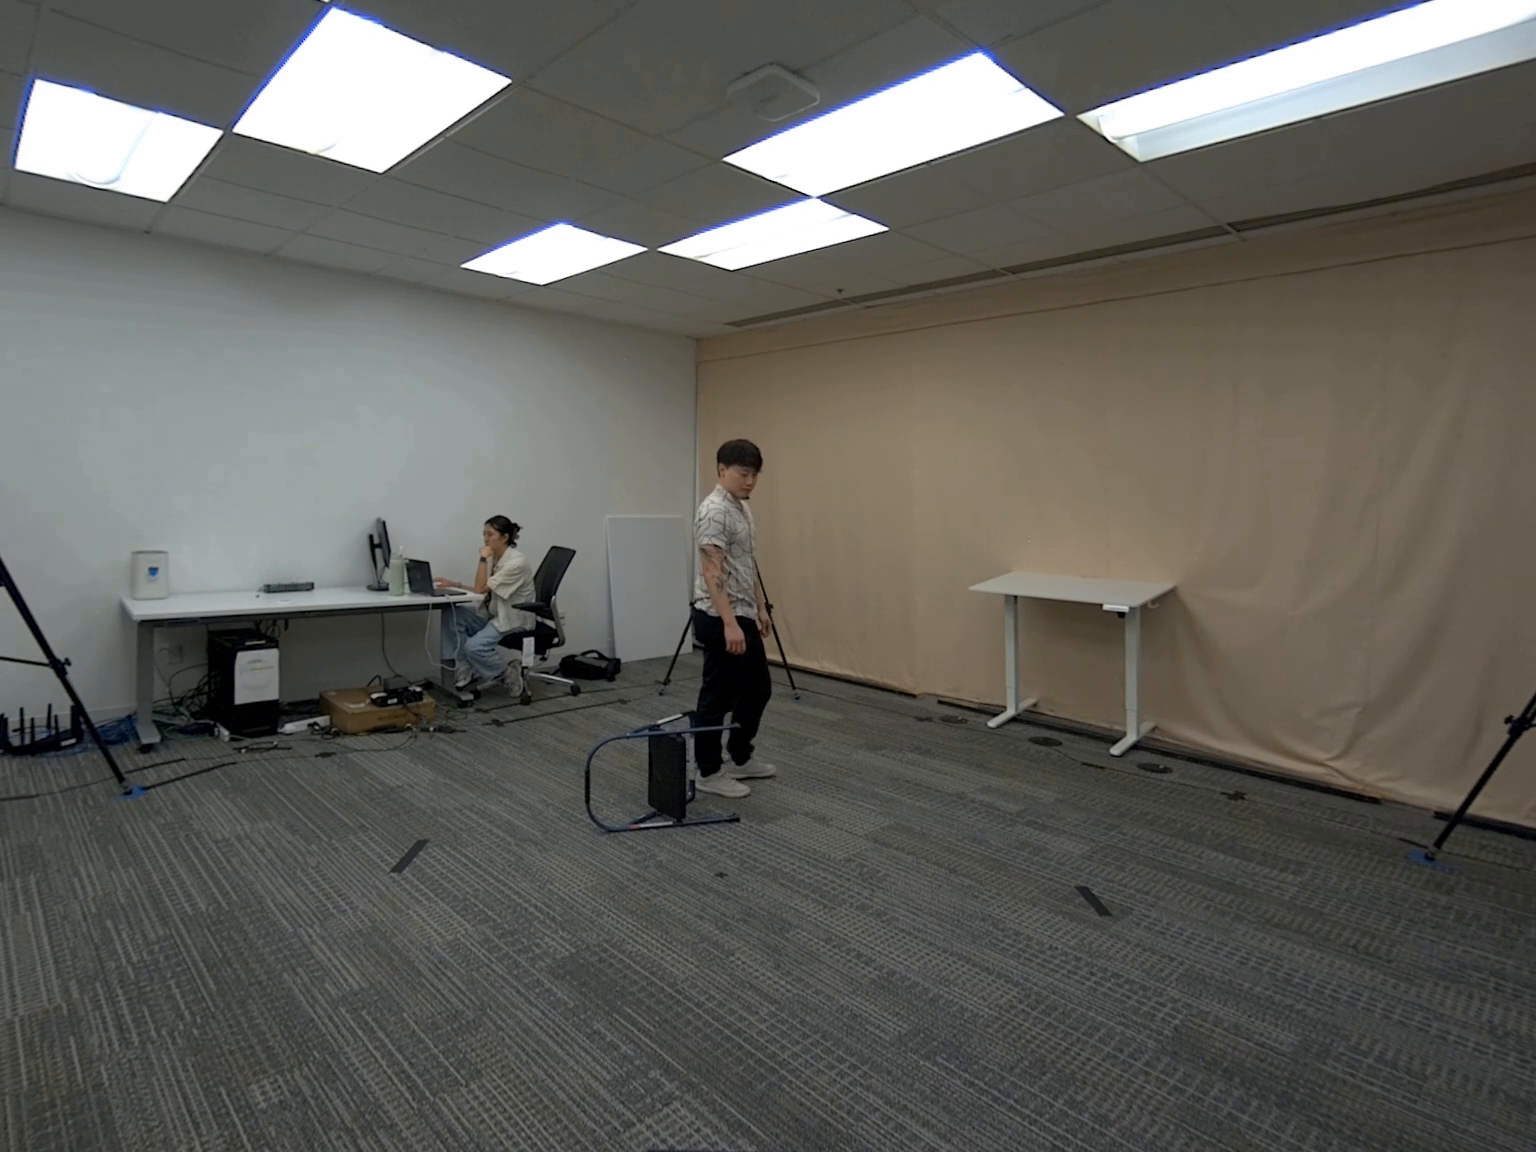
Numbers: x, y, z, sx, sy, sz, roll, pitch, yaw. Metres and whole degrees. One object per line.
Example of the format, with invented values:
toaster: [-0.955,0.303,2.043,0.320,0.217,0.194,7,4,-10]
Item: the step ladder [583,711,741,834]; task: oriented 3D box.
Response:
step ladder: [-0.474,0.845,3.559,0.592,0.430,0.358,-2,4,-39]
